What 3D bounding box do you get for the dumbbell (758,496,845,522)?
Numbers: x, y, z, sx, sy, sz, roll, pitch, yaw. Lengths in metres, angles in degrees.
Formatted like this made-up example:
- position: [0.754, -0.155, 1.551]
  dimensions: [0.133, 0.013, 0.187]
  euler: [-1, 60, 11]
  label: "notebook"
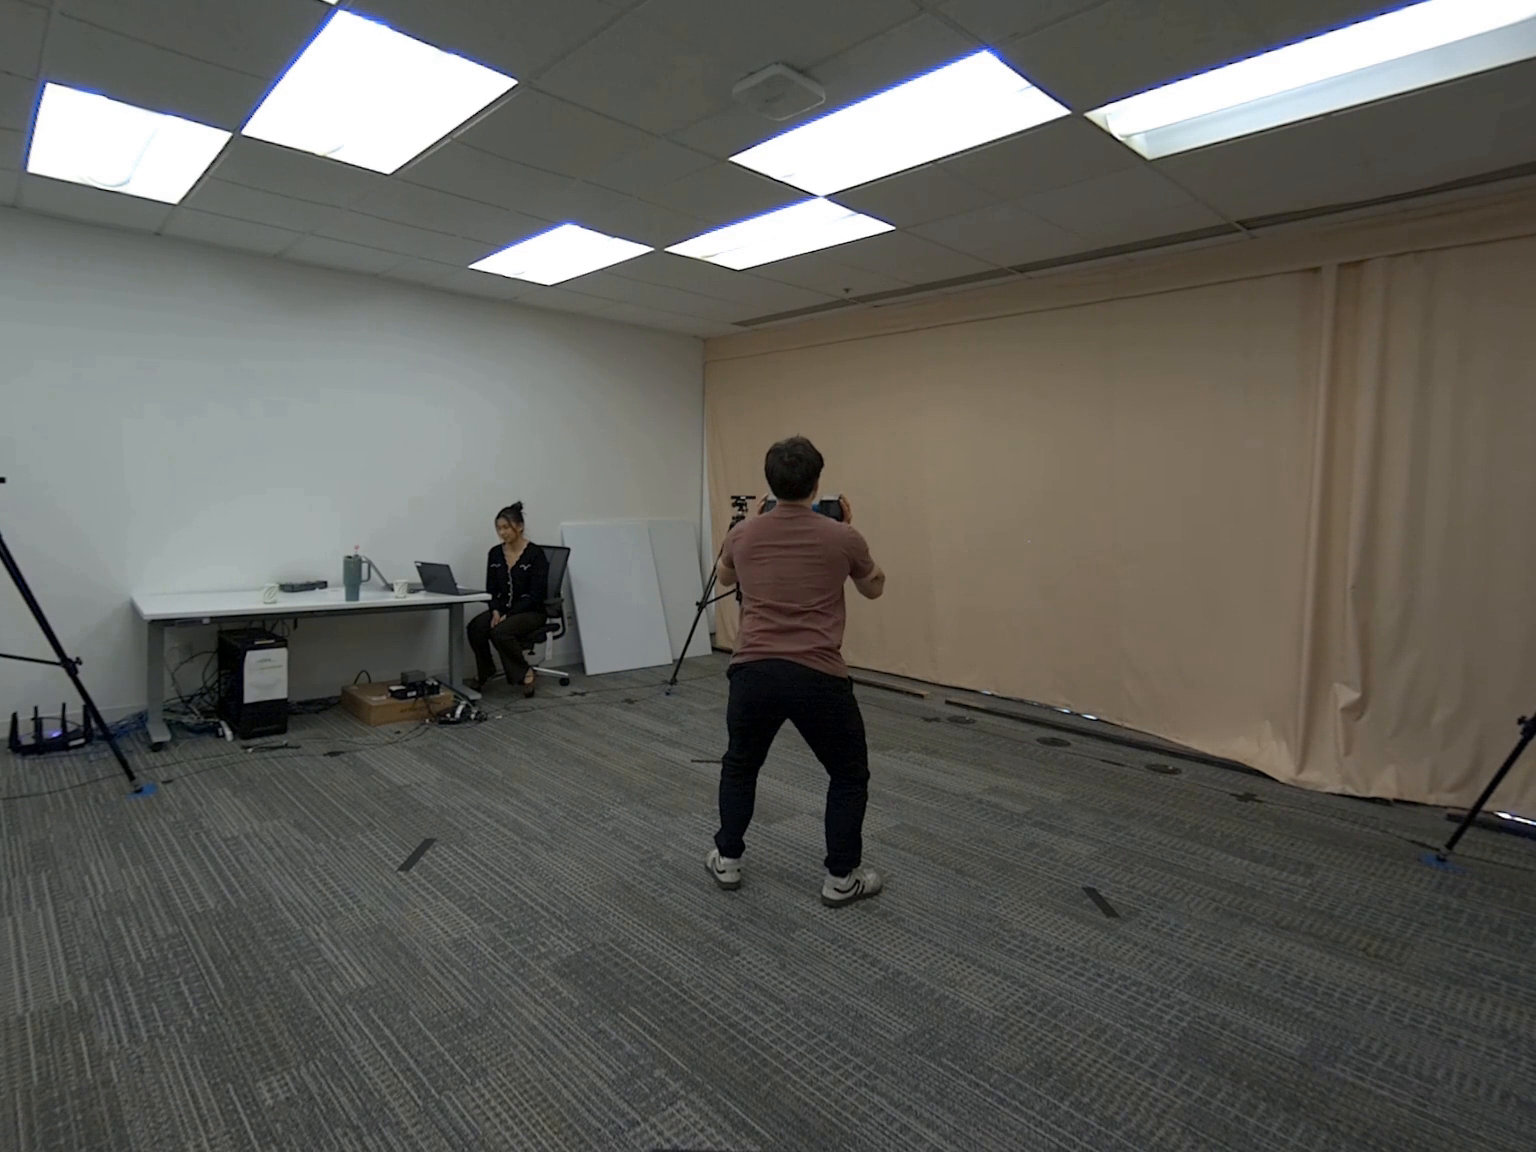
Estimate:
- position: [0.140, -0.222, 3.087]
  dimensions: [0.296, 0.123, 0.107]
  euler: [-1, -6, 13]
  label: "dumbbell"
